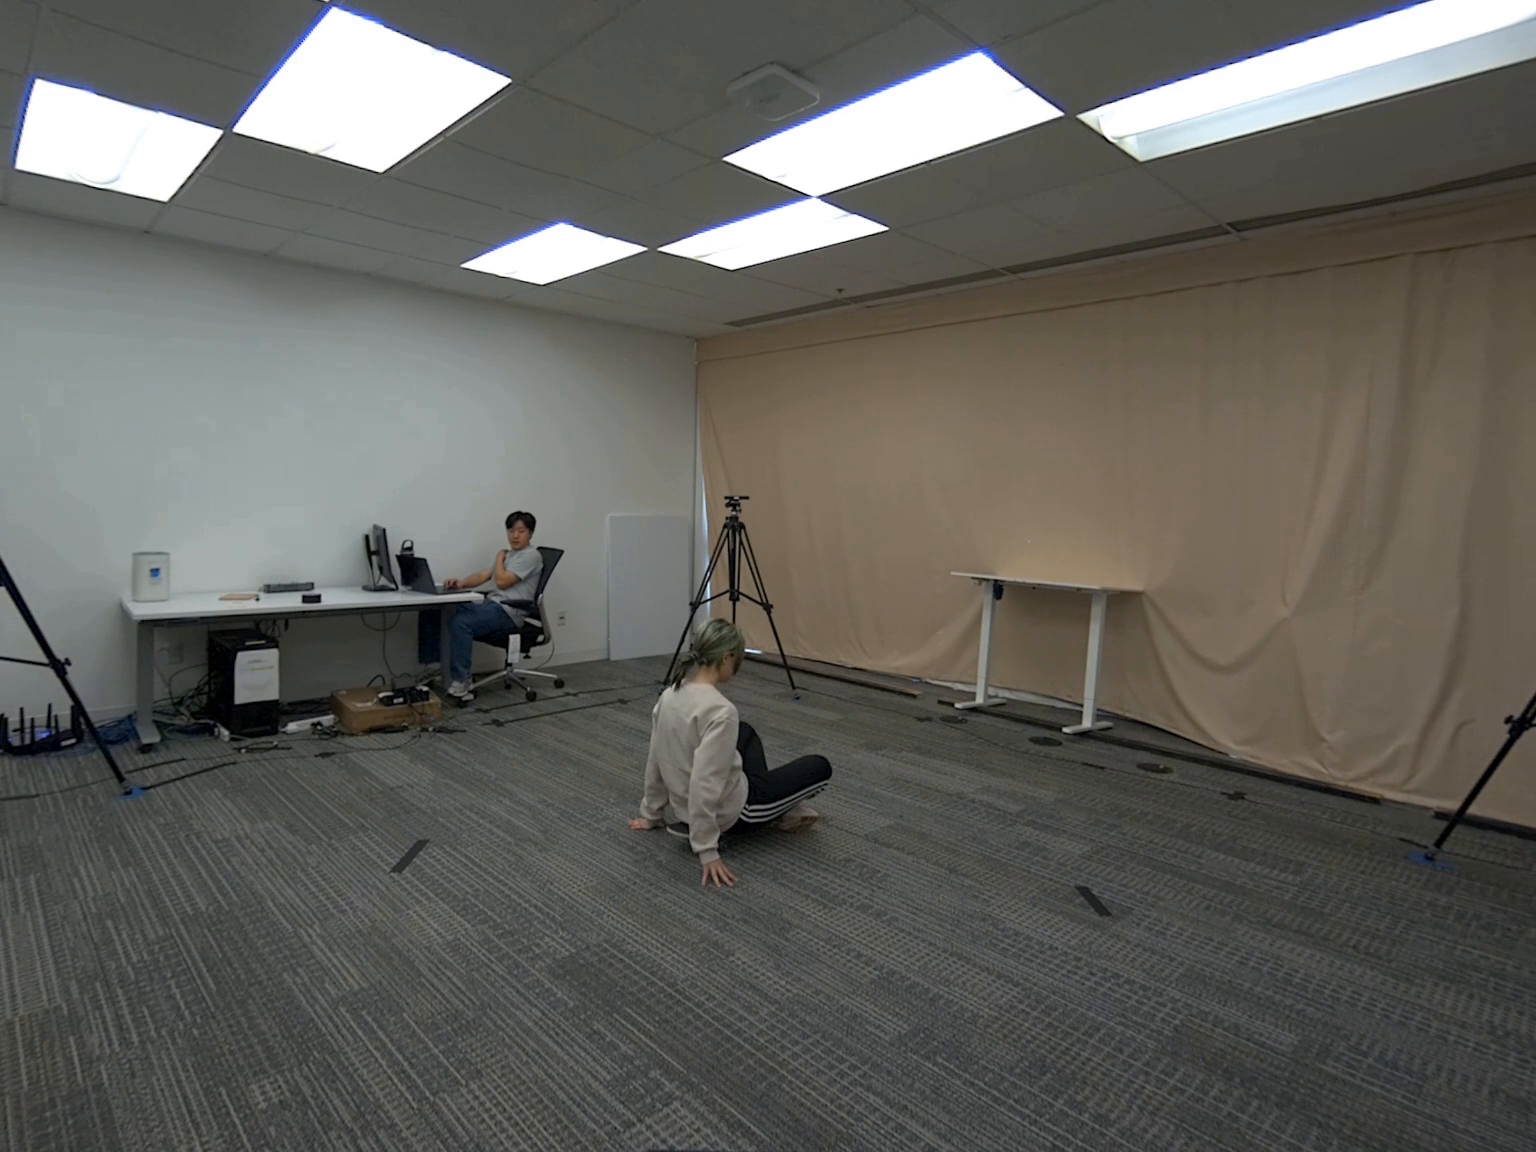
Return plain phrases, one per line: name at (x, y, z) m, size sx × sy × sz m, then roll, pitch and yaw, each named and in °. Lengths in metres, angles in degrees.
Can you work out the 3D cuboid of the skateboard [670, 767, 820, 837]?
skateboard at (-0.115, 1.015, 3.544) m, size 0.198 × 0.110 × 0.769 m, roll 2°, pitch 6°, yaw 37°
